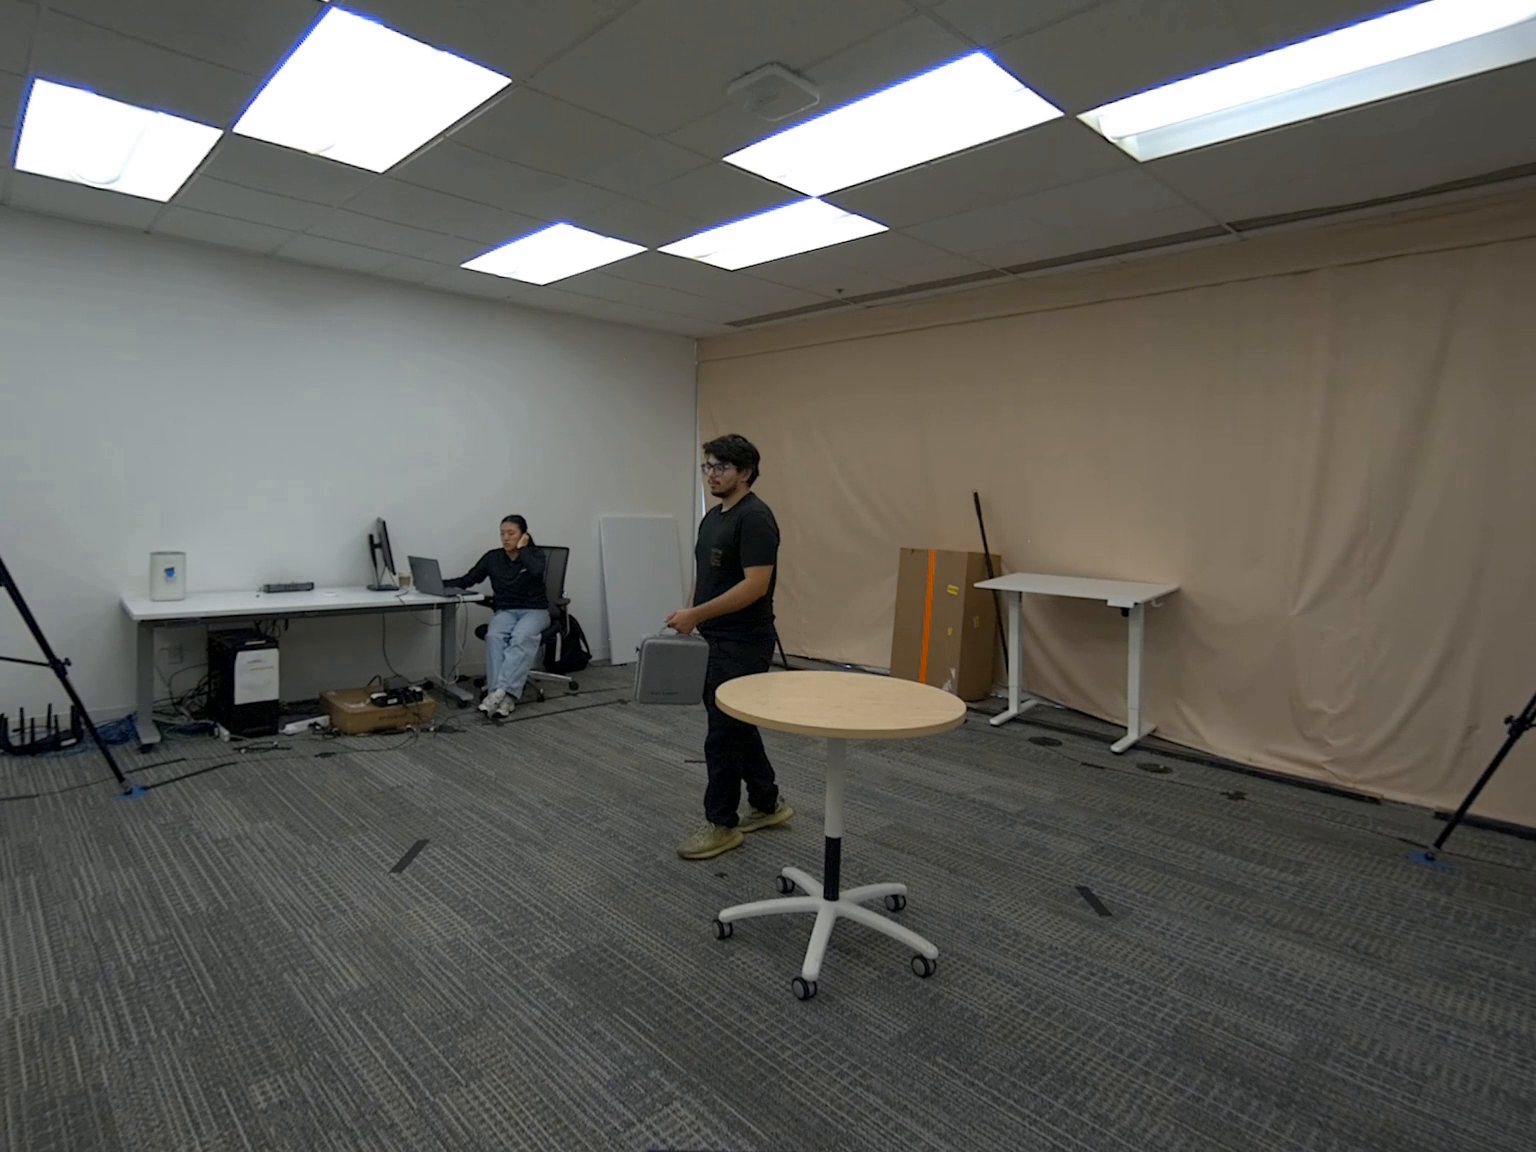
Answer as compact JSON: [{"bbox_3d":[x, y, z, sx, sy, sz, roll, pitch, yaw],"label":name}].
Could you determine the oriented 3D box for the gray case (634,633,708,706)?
[{"bbox_3d":[-0.368,0.339,3.104,0.253,0.259,0.106,5,11,-18],"label":"gray case"}]
